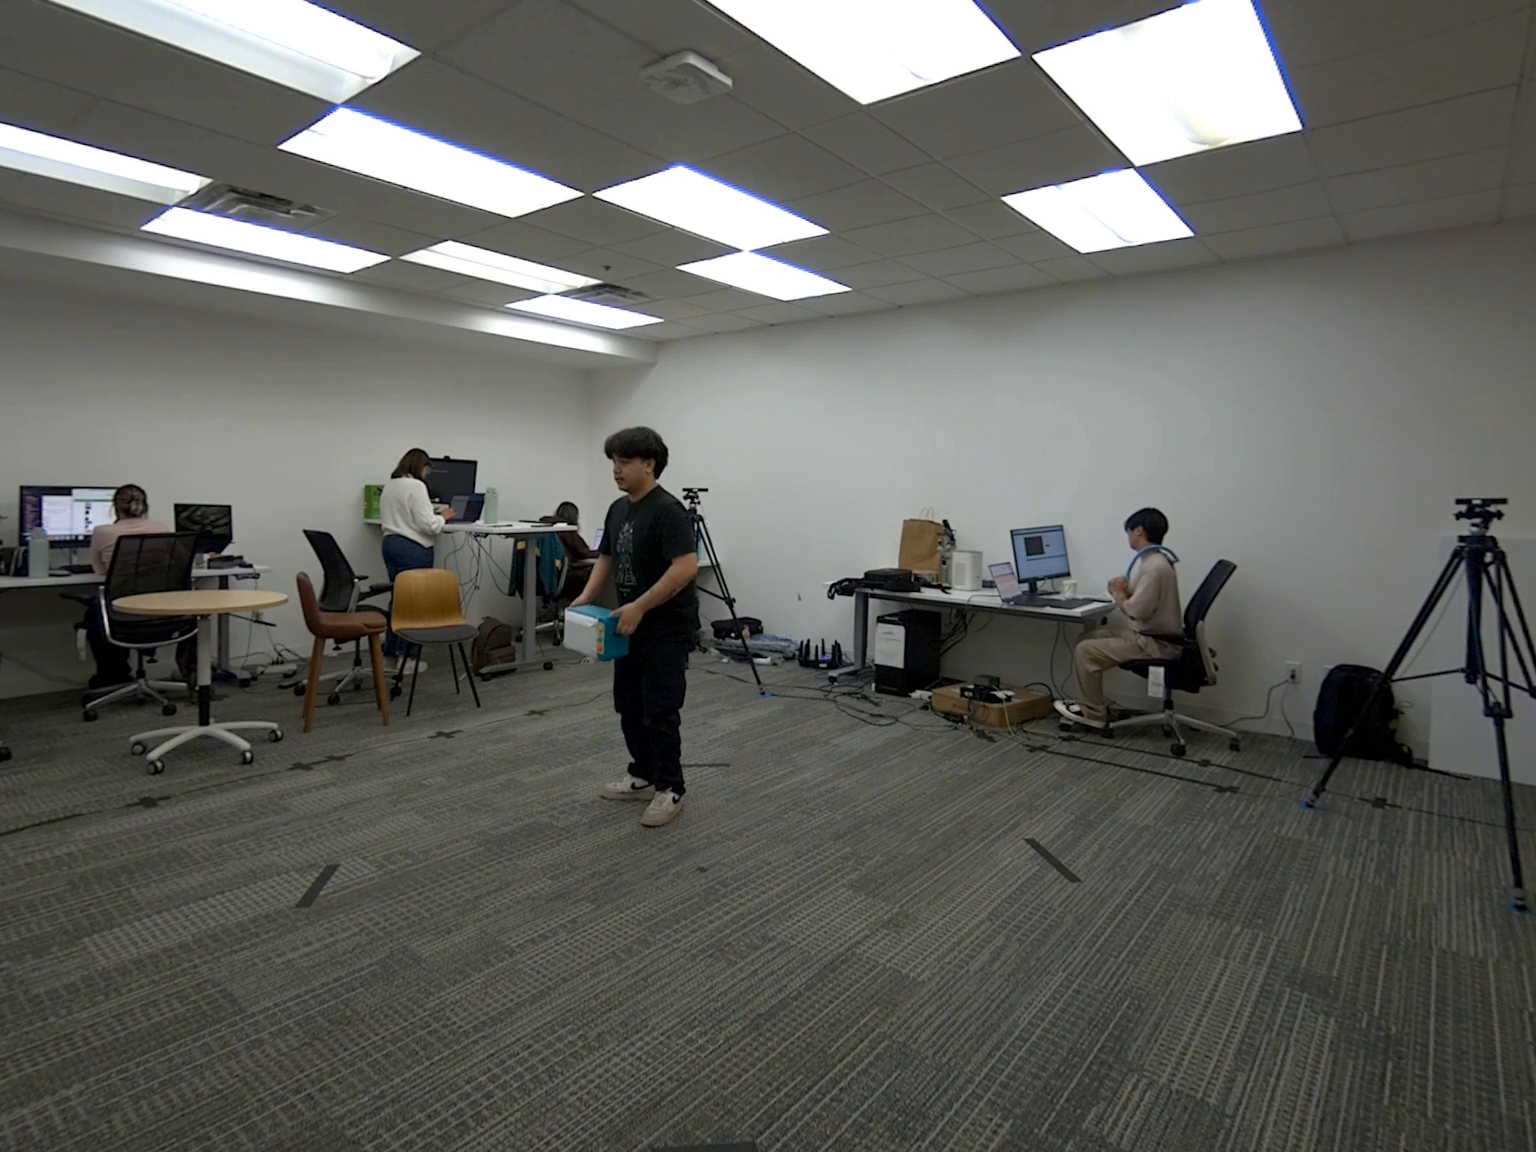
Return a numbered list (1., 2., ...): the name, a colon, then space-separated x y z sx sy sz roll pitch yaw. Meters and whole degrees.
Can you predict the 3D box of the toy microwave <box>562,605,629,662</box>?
1. toy microwave: -0.740 0.234 3.532 0.296 0.183 0.148 9 8 40
